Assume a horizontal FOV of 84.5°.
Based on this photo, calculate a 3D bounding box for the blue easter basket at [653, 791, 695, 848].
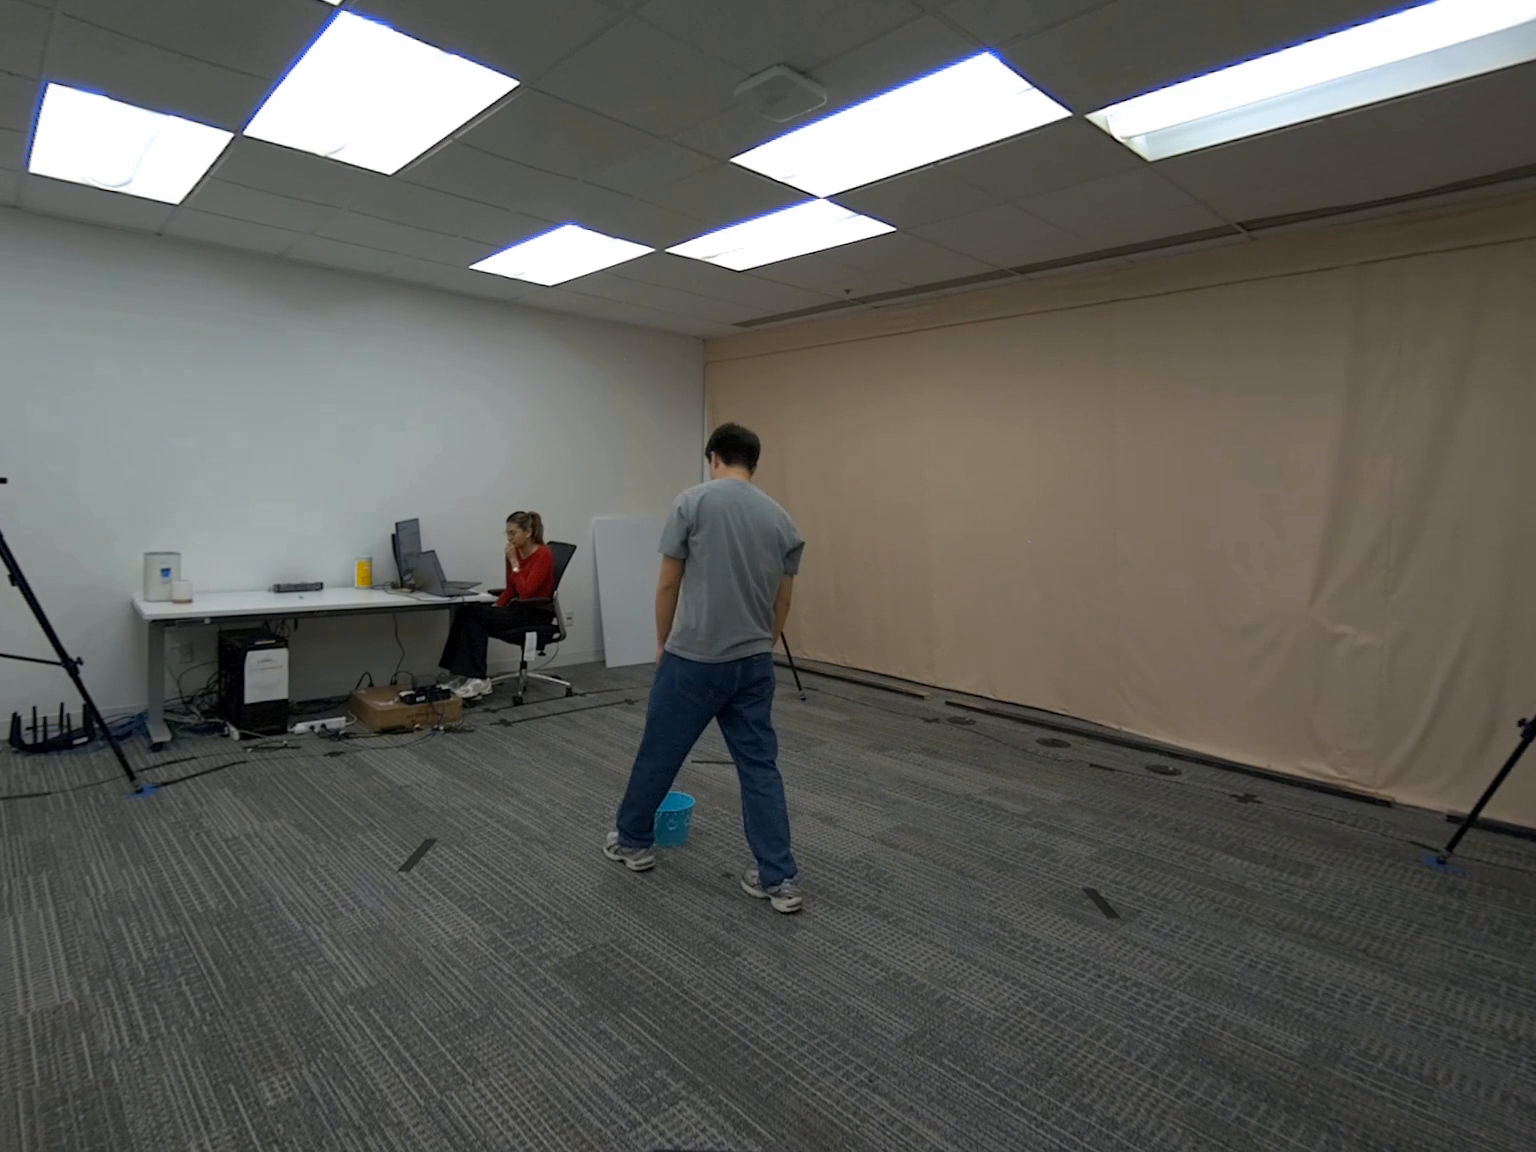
[{"bbox_3d":[-0.428,0.993,3.439,0.243,0.155,0.244,2,4,-1],"label":"blue easter basket"}]
